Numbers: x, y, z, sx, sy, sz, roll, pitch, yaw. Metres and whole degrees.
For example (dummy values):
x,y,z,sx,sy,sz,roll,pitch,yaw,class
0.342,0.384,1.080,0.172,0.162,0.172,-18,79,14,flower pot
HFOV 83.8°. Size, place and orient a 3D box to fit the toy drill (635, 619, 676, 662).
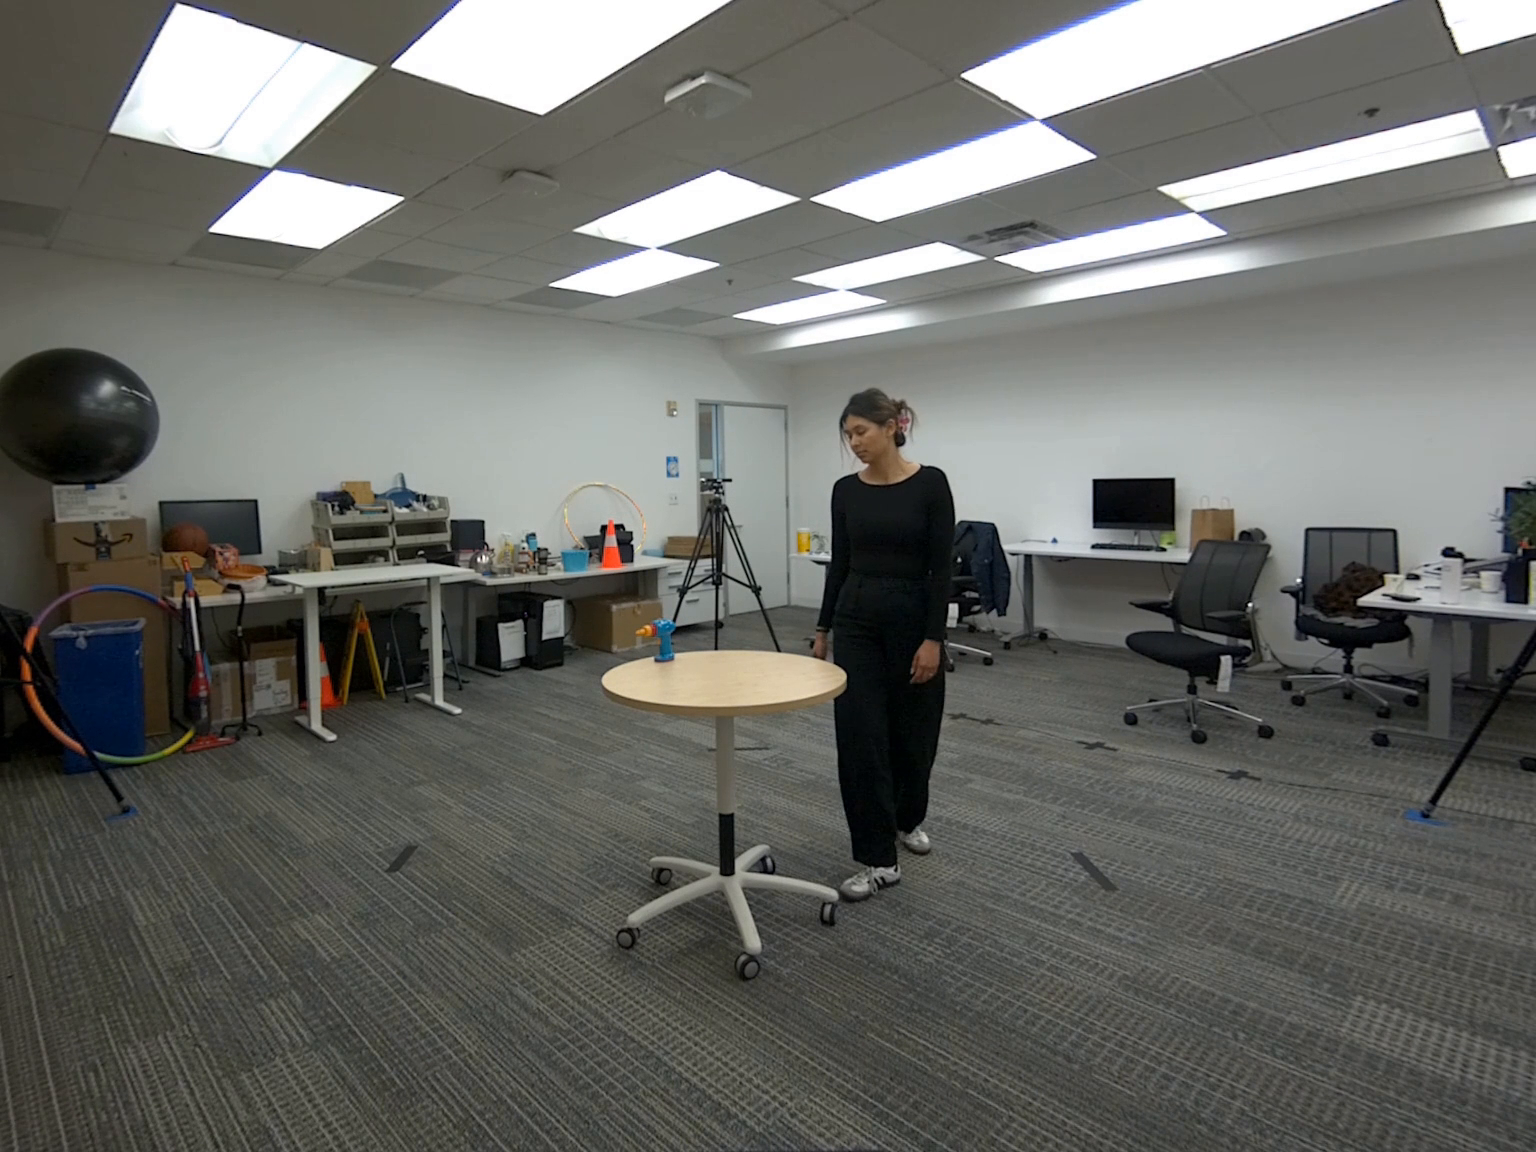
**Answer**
x,y,z,sx,sy,sz,roll,pitch,yaw,class
-0.376,0.217,2.892,0.063,0.146,0.165,2,4,43,toy drill
